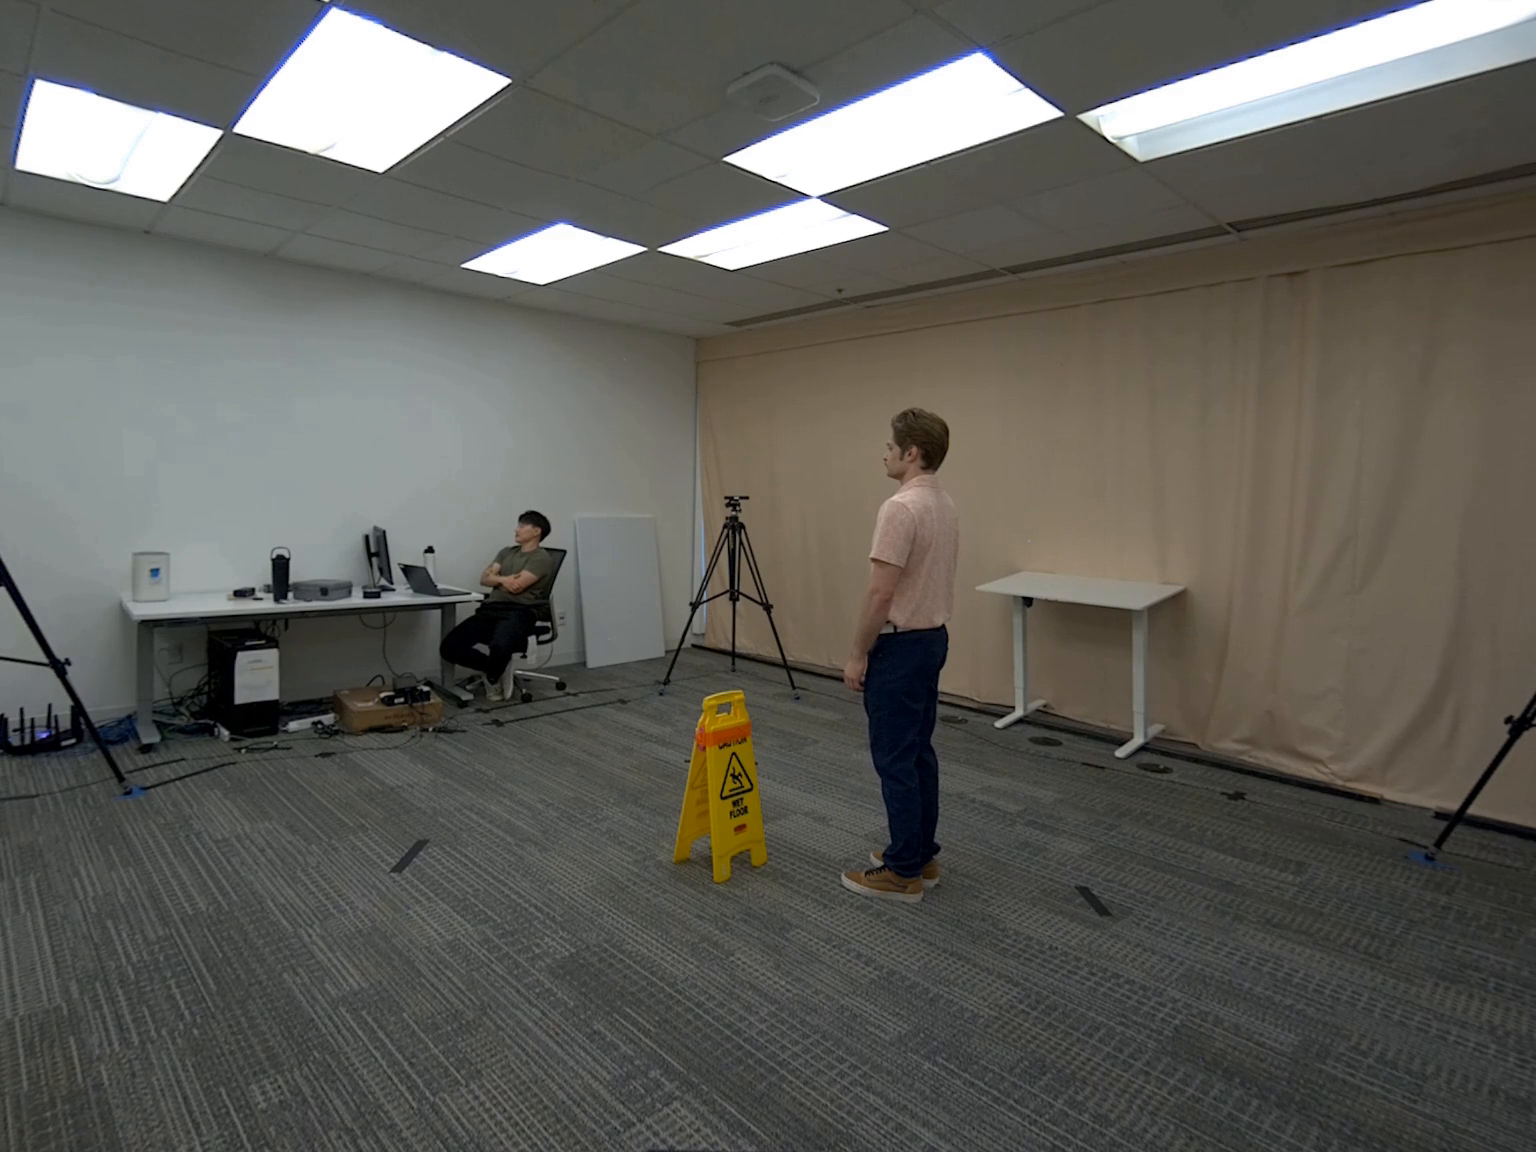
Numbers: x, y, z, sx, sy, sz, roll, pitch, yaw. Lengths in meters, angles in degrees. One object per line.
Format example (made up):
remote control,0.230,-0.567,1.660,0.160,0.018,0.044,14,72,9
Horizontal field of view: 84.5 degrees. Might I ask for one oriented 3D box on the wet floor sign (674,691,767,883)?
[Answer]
wet floor sign,-0.181,0.763,3.193,0.297,0.645,0.276,3,3,43
